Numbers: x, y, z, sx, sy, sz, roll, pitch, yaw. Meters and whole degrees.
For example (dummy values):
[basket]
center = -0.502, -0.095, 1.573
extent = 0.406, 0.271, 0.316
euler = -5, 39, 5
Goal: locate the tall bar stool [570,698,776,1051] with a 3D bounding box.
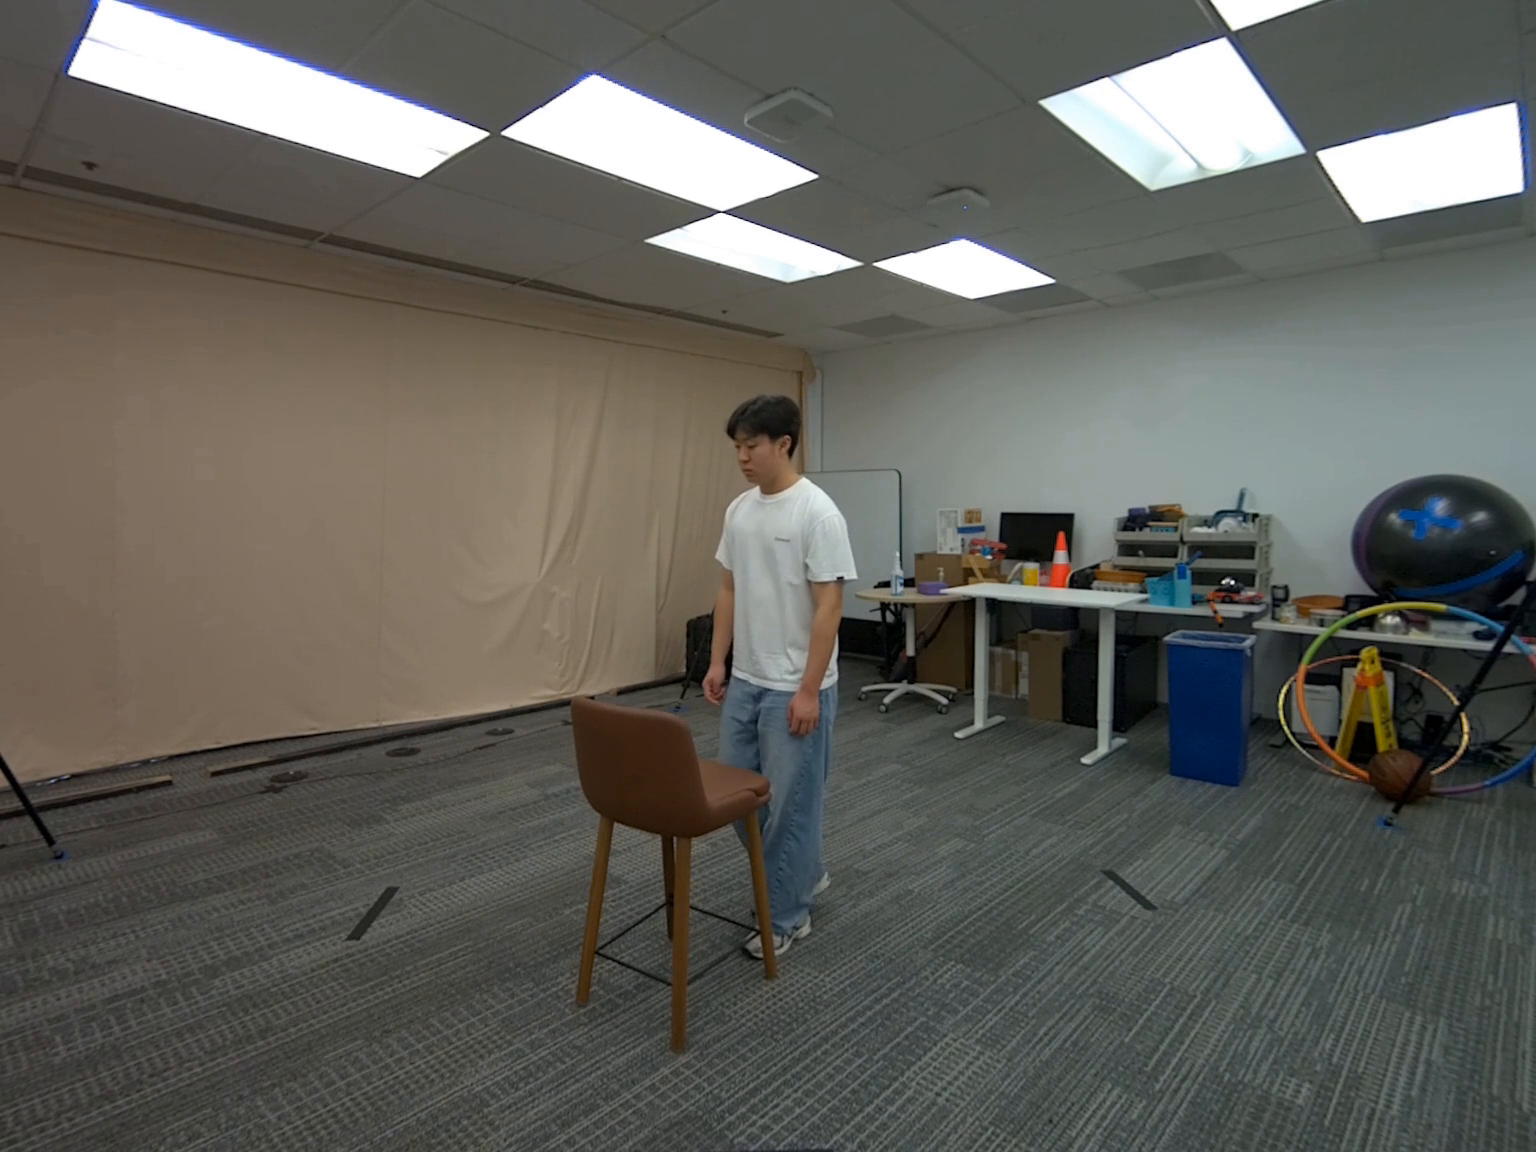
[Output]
[tall bar stool]
center = -0.263, 0.754, 2.407
extent = 0.471, 0.887, 0.455
euler = 1, 6, 35
